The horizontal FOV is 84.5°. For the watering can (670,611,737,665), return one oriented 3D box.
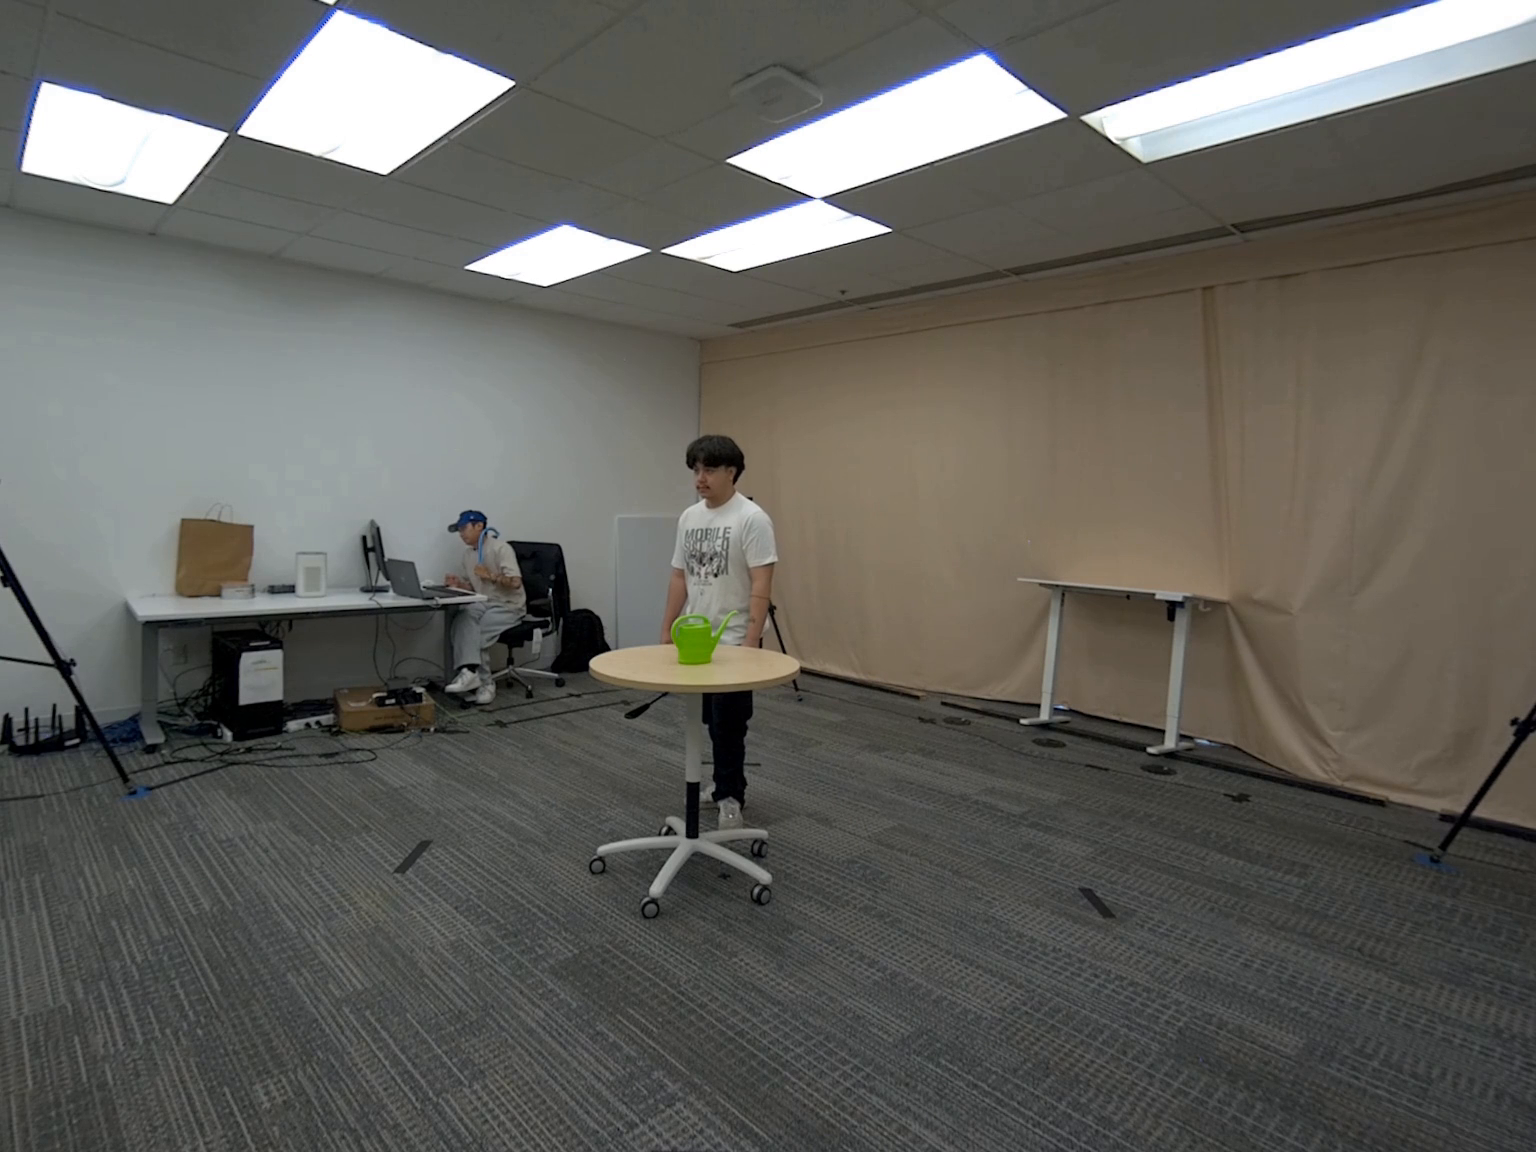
[{"bbox_3d":[-0.246,0.227,3.085,0.274,0.176,0.100,-1,5,-21],"label":"watering can"}]
